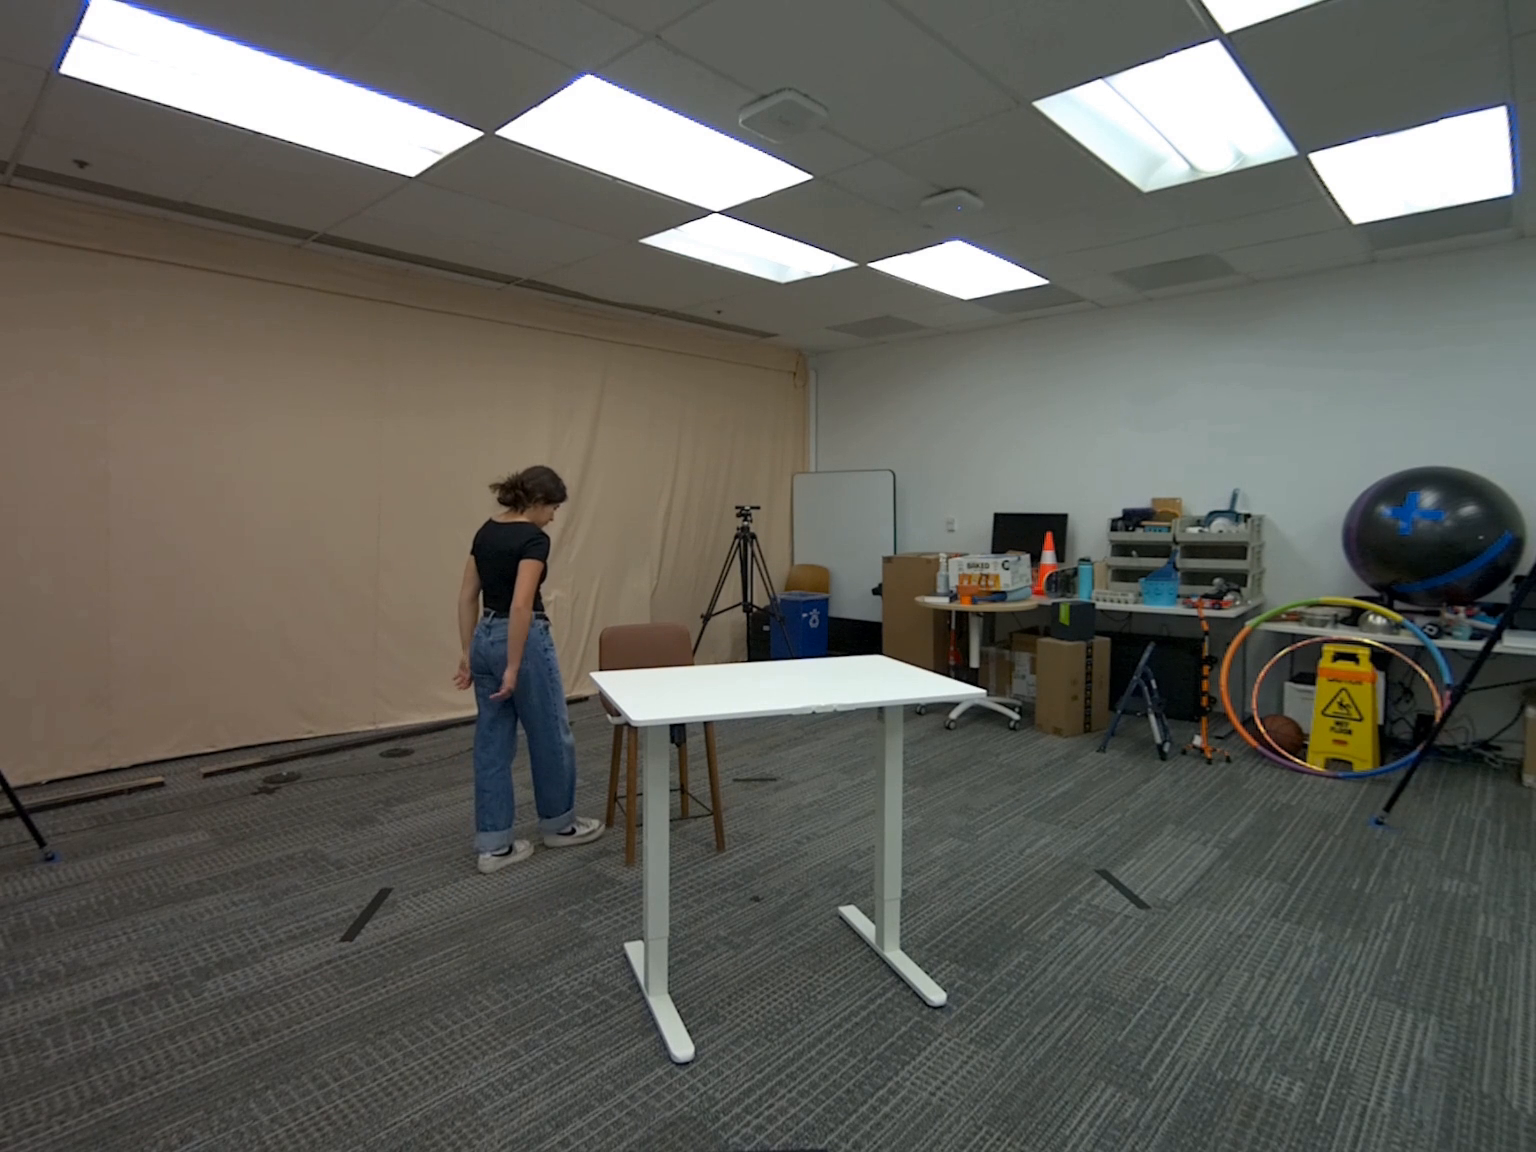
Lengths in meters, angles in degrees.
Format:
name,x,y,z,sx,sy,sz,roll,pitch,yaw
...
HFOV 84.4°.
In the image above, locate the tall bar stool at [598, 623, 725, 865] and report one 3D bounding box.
name,x,y,z,sx,sy,sz,roll,pitch,yaw
tall bar stool,-0.453,0.671,3.517,0.447,0.889,0.478,-1,1,-22
